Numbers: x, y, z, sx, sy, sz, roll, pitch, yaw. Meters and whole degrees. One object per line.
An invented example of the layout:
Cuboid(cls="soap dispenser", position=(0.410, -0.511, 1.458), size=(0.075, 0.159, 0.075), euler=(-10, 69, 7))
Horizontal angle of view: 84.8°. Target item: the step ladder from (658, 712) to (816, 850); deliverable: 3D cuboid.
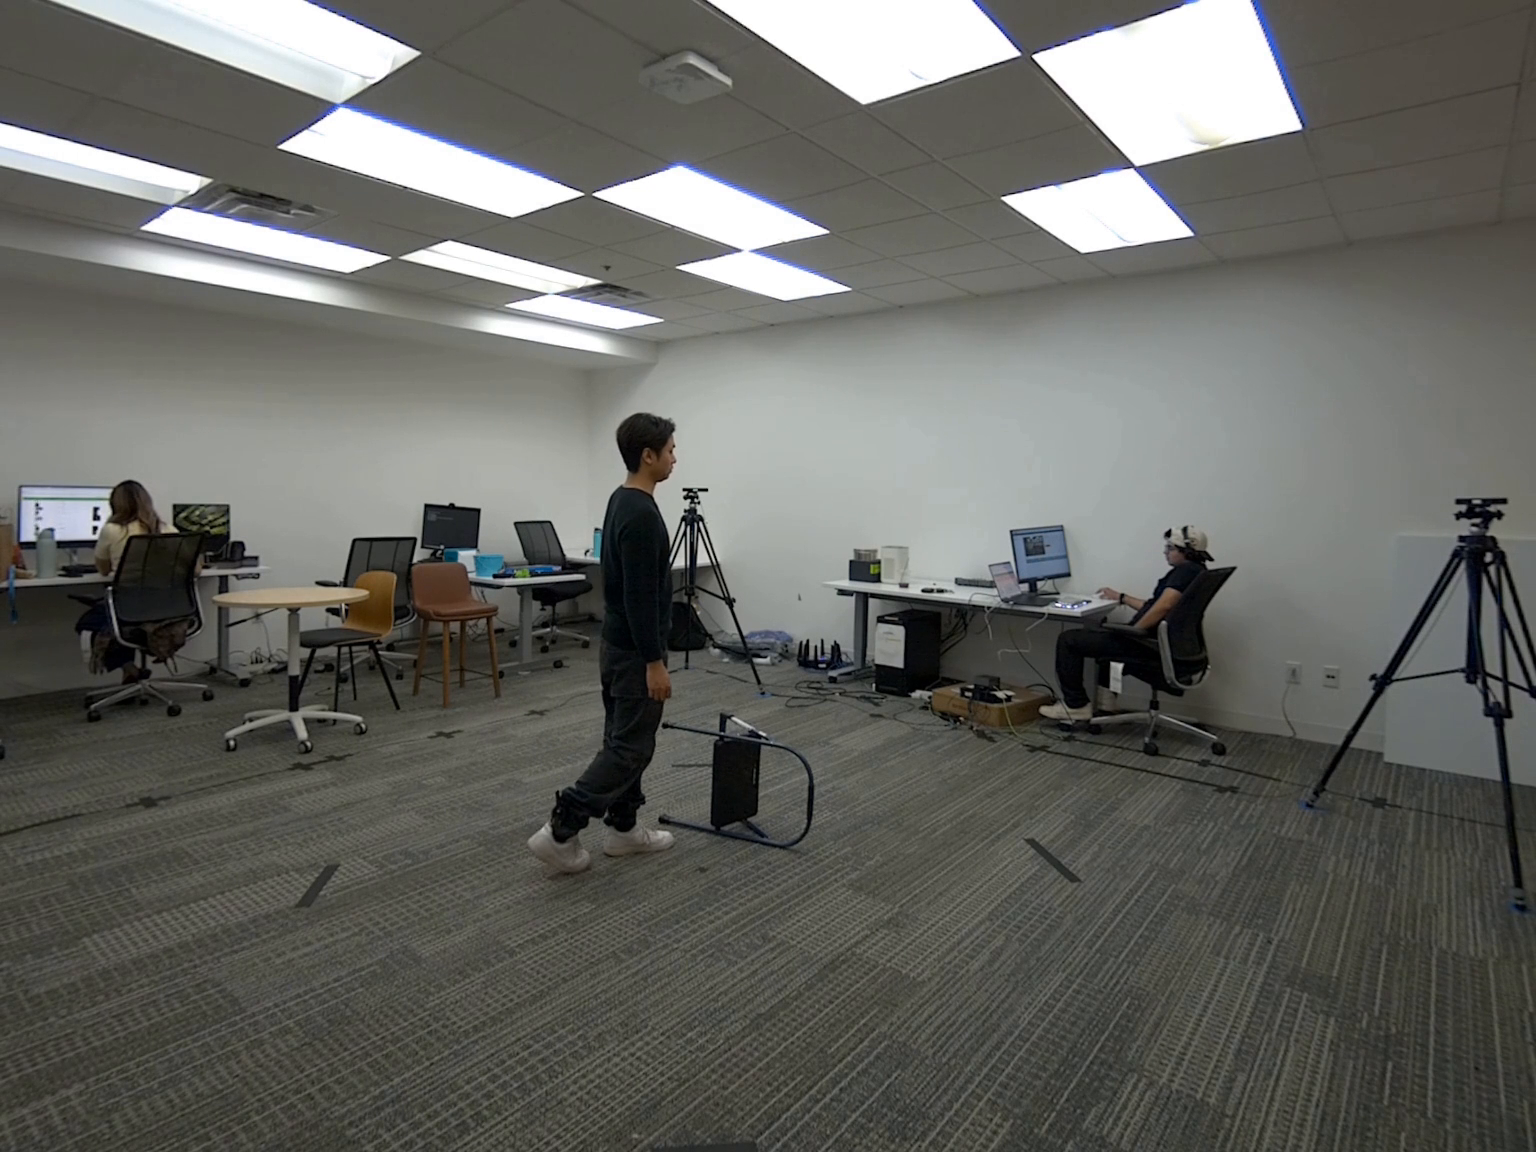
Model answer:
Cuboid(cls="step ladder", position=(-0.114, 0.837, 3.424), size=(0.627, 0.429, 0.339), euler=(7, 7, 44))
